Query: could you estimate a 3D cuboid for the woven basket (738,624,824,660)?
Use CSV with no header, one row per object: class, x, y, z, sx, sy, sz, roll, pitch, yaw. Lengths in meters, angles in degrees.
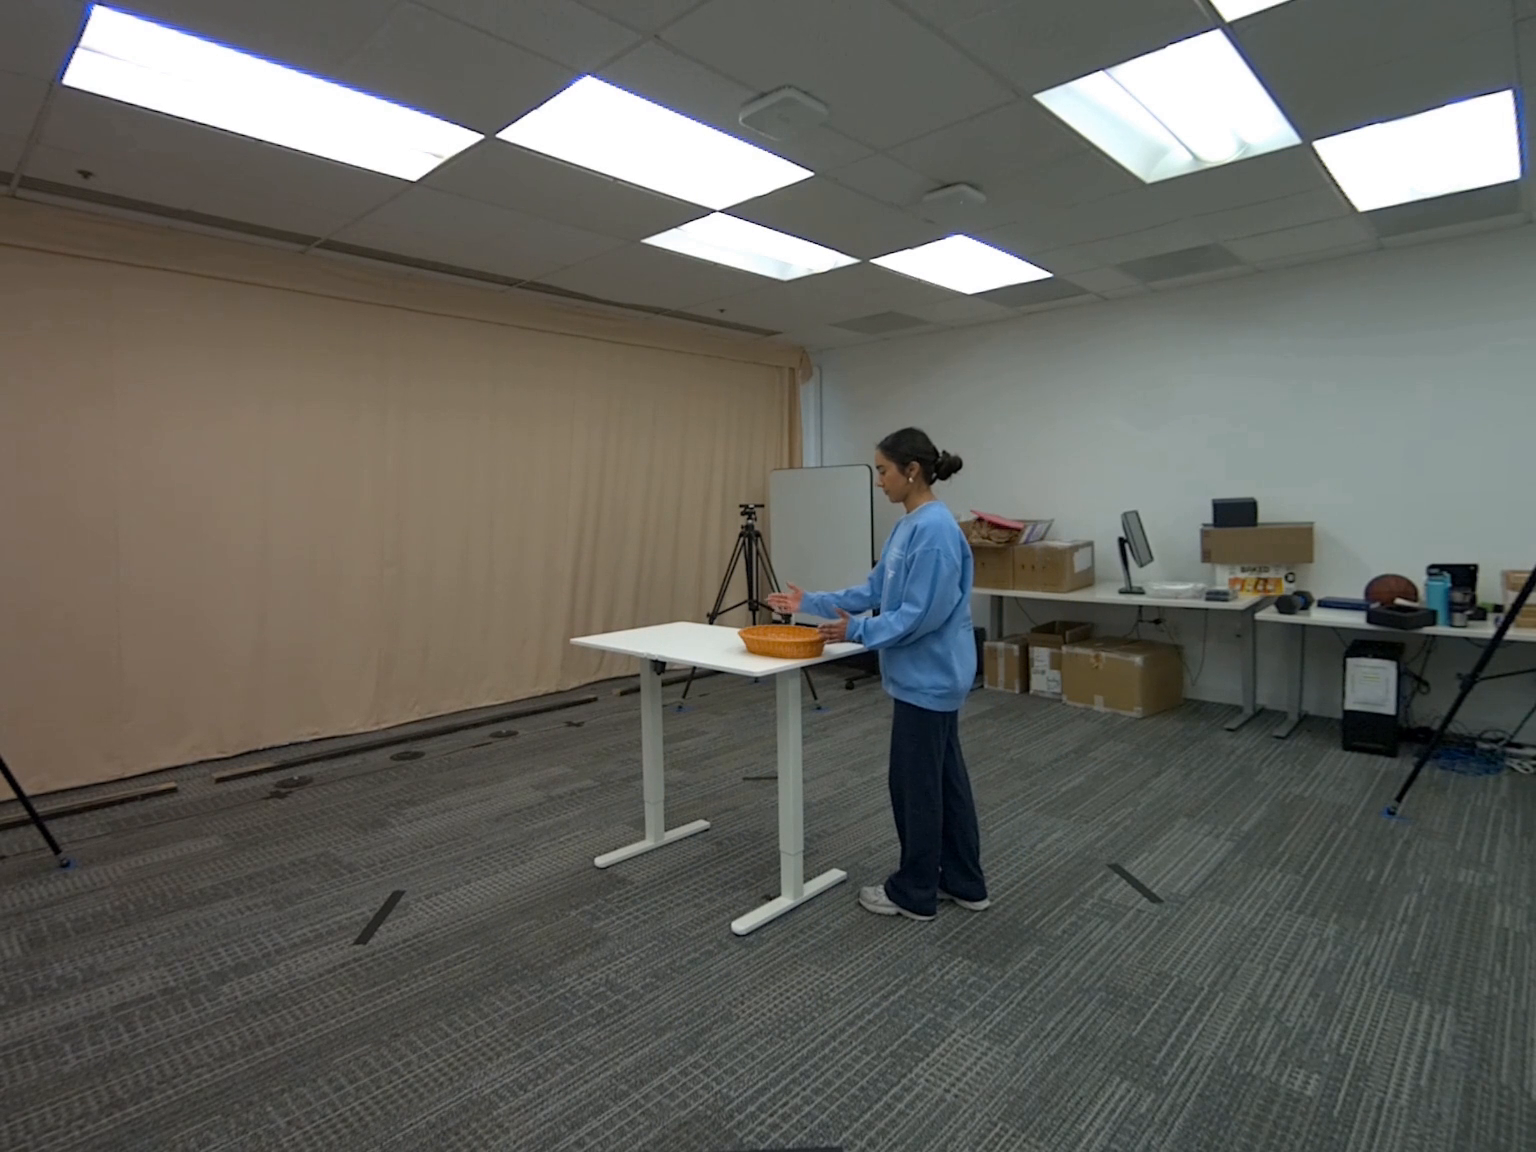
woven basket,0.069,0.236,2.901,0.245,0.073,0.362,-8,10,-42
